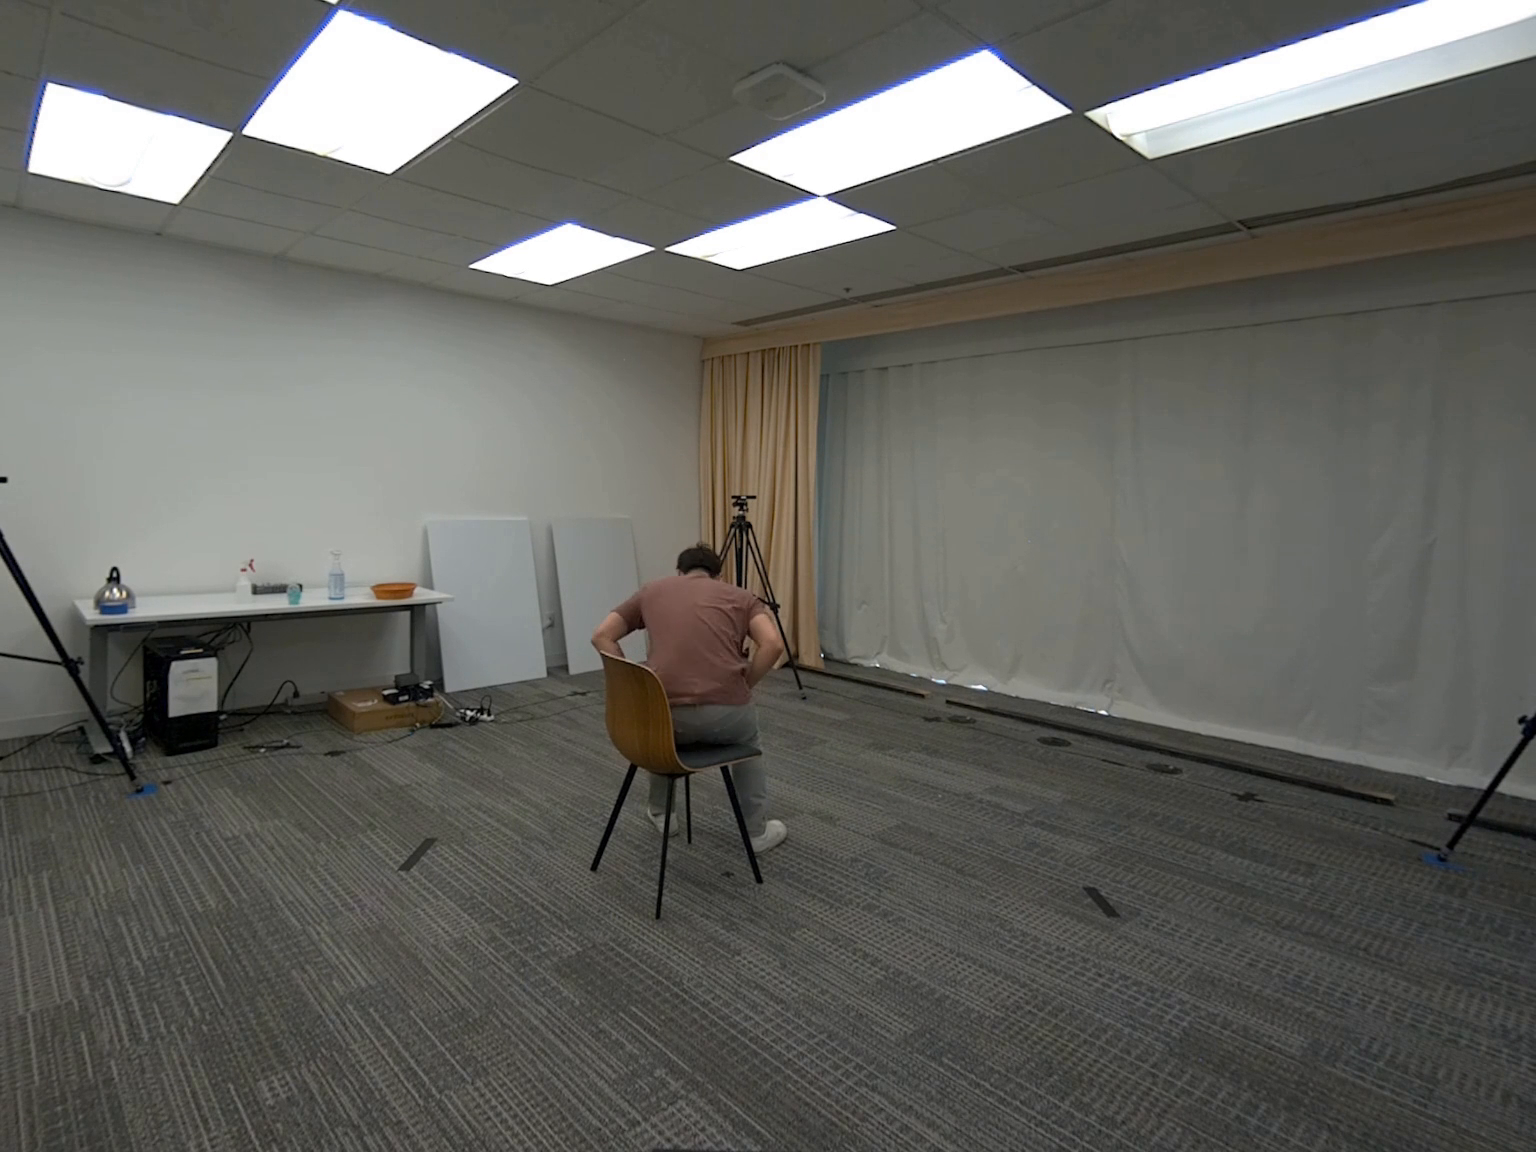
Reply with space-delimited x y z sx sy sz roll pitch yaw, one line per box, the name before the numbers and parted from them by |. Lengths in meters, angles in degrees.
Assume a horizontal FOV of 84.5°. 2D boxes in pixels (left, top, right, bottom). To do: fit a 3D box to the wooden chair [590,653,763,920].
wooden chair | -0.329 0.675 3.042 0.512 0.873 0.490 -6 8 -38
